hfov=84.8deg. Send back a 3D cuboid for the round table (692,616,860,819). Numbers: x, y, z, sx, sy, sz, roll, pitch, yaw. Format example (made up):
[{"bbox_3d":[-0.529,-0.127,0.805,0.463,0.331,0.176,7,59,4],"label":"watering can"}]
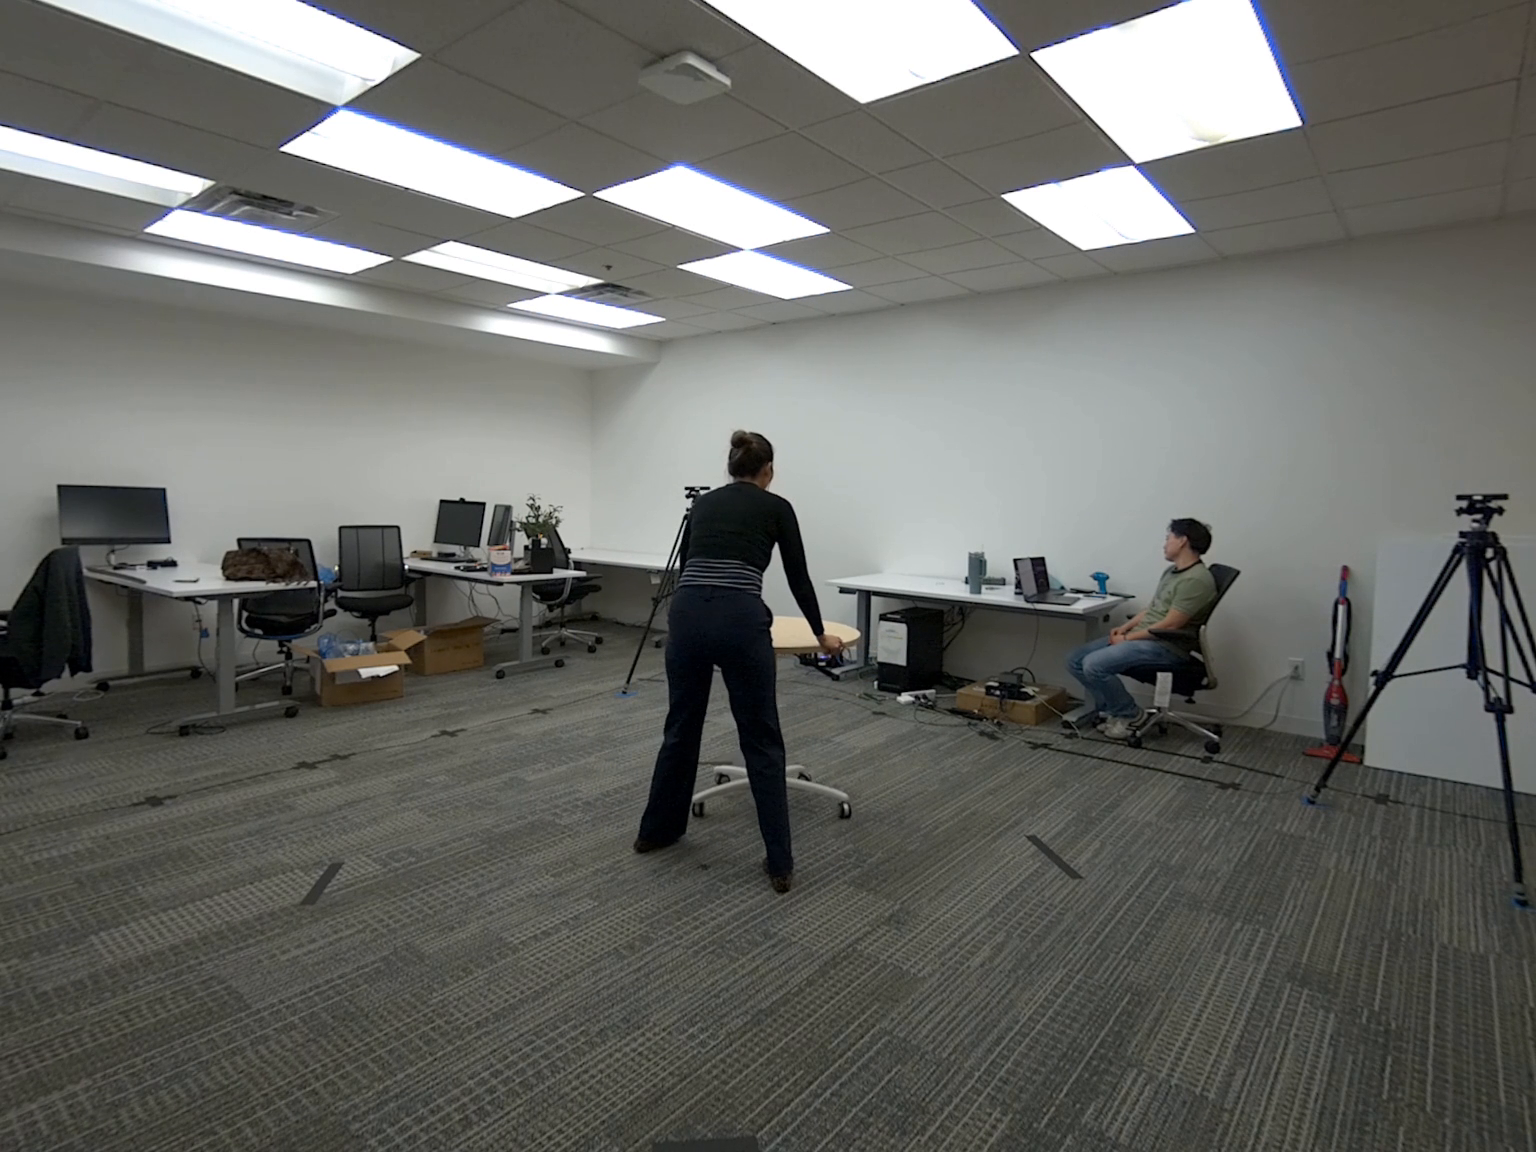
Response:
[{"bbox_3d":[-0.006,0.621,3.692,0.763,0.791,0.768,1,4,-2],"label":"round table"}]
